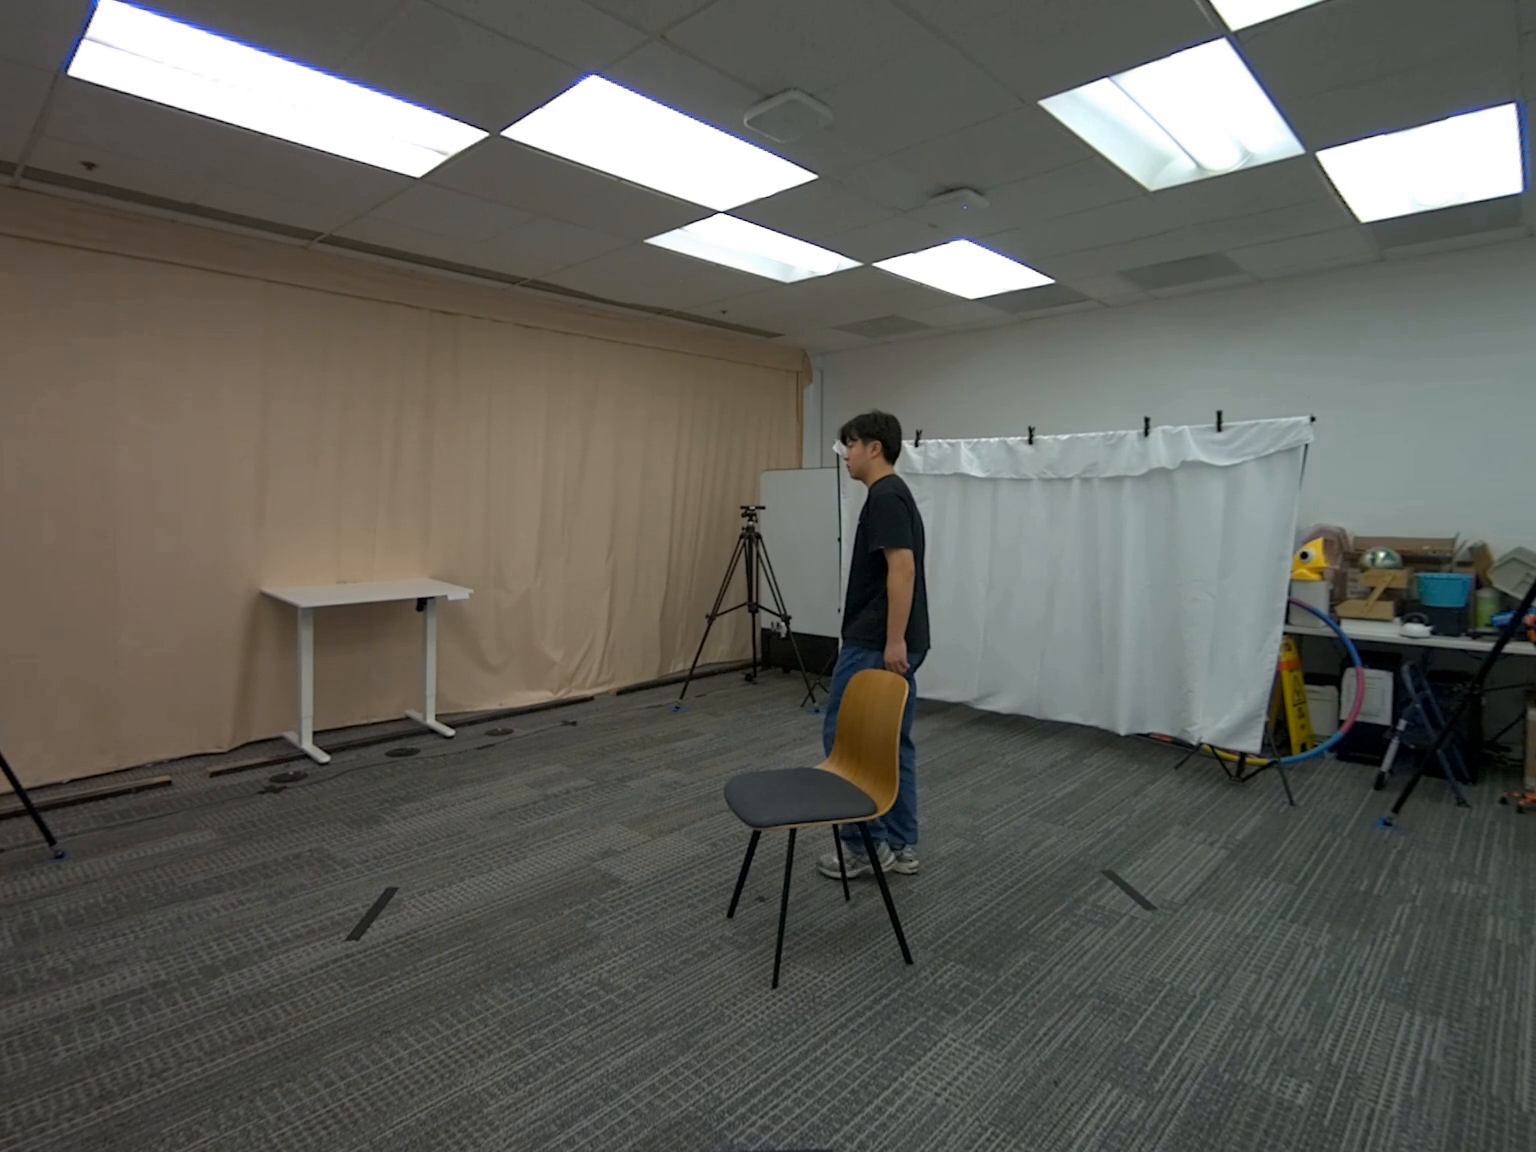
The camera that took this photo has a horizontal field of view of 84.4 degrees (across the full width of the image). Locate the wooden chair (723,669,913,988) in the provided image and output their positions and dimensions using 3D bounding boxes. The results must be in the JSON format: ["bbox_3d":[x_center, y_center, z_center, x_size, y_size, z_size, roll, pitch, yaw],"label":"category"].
[{"bbox_3d":[0.148,0.746,2.669,0.513,0.876,0.488,3,3,-19],"label":"wooden chair"}]
